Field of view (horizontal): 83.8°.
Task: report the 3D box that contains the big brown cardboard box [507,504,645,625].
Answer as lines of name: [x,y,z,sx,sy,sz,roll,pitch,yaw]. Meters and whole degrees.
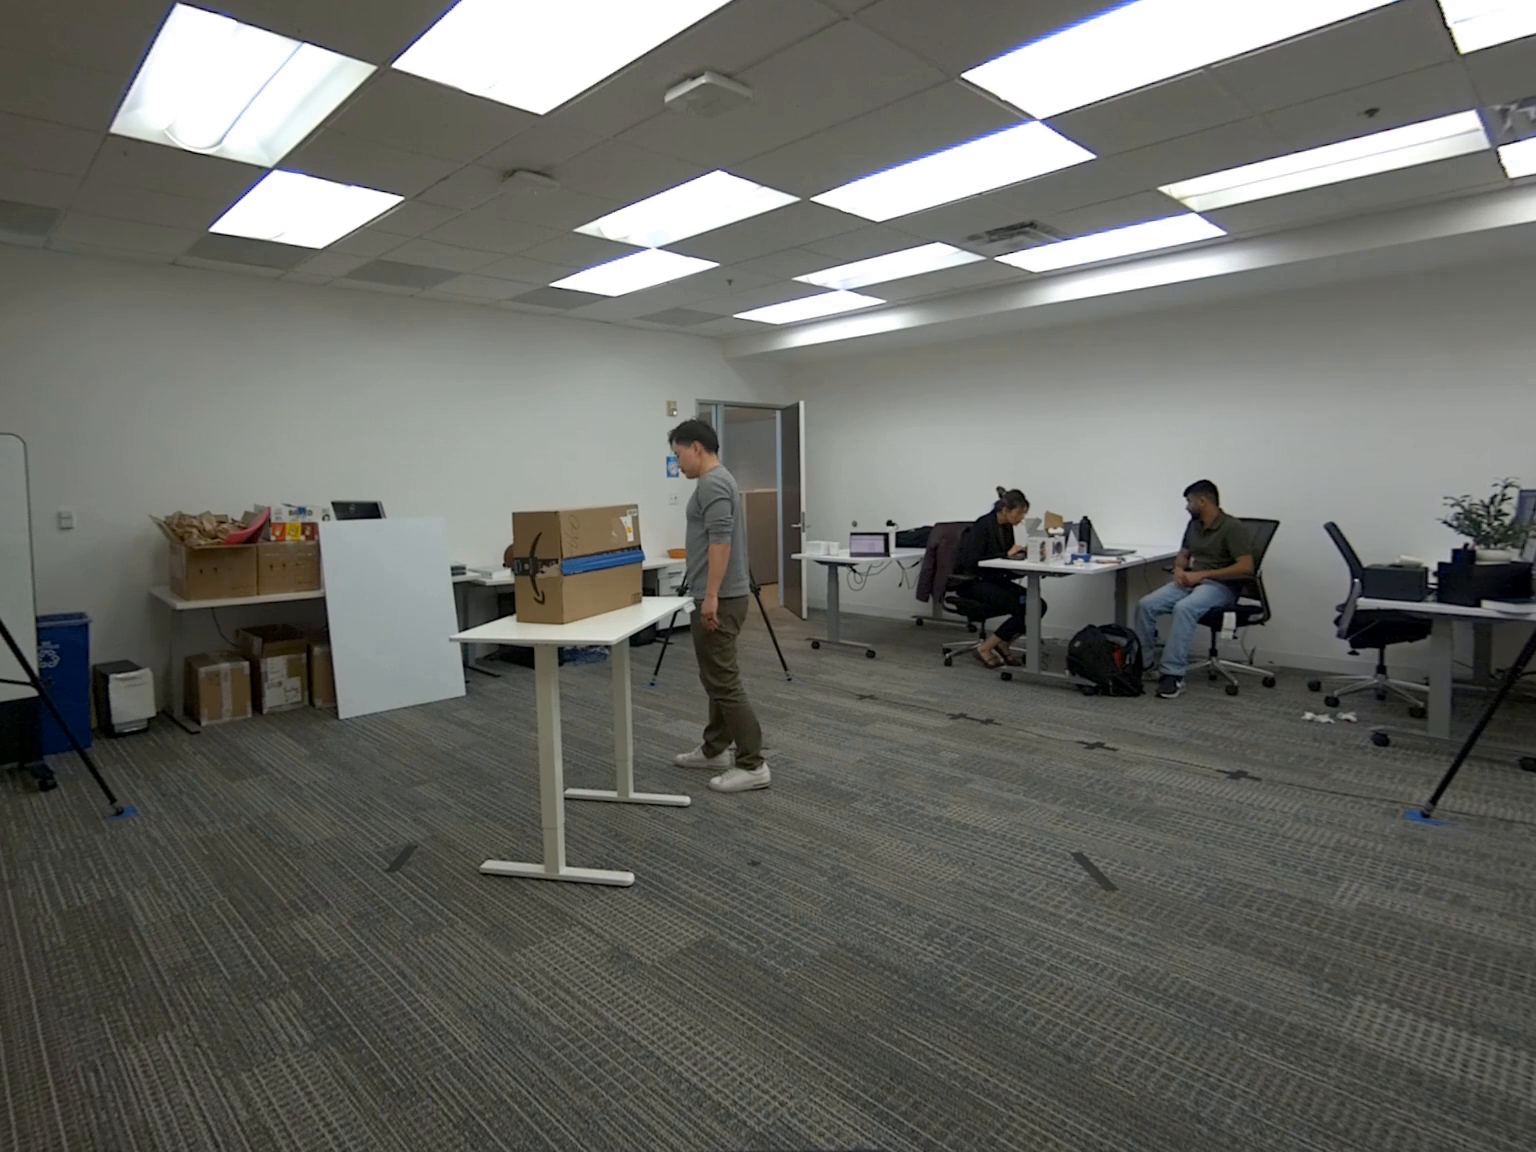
big brown cardboard box: [-0.739,-0.062,3.400,0.238,0.416,0.578,-1,5,24]
